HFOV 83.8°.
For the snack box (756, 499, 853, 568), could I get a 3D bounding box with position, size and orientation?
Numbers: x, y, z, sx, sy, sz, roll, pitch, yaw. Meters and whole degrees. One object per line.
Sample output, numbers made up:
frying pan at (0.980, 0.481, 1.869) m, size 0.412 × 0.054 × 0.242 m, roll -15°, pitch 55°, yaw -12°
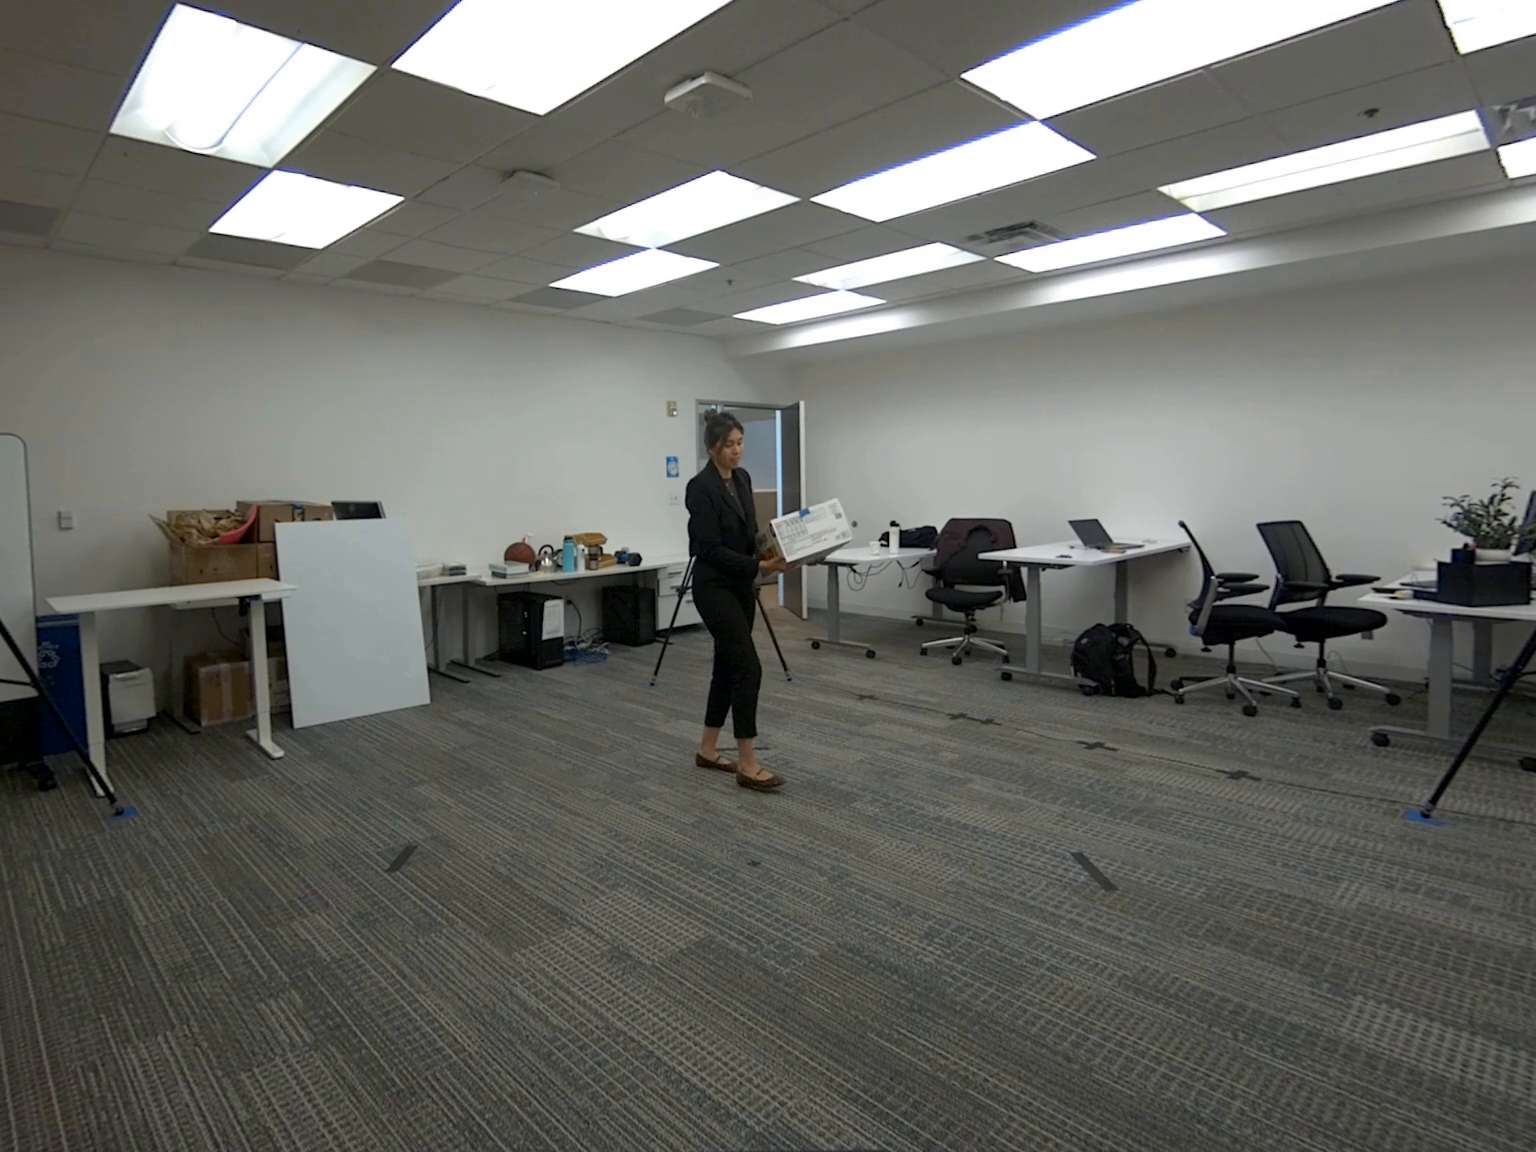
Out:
snack box at (0.150, -0.164, 3.948) m, size 0.337 × 0.208 × 0.406 m, roll -20°, pitch -6°, yaw -18°
